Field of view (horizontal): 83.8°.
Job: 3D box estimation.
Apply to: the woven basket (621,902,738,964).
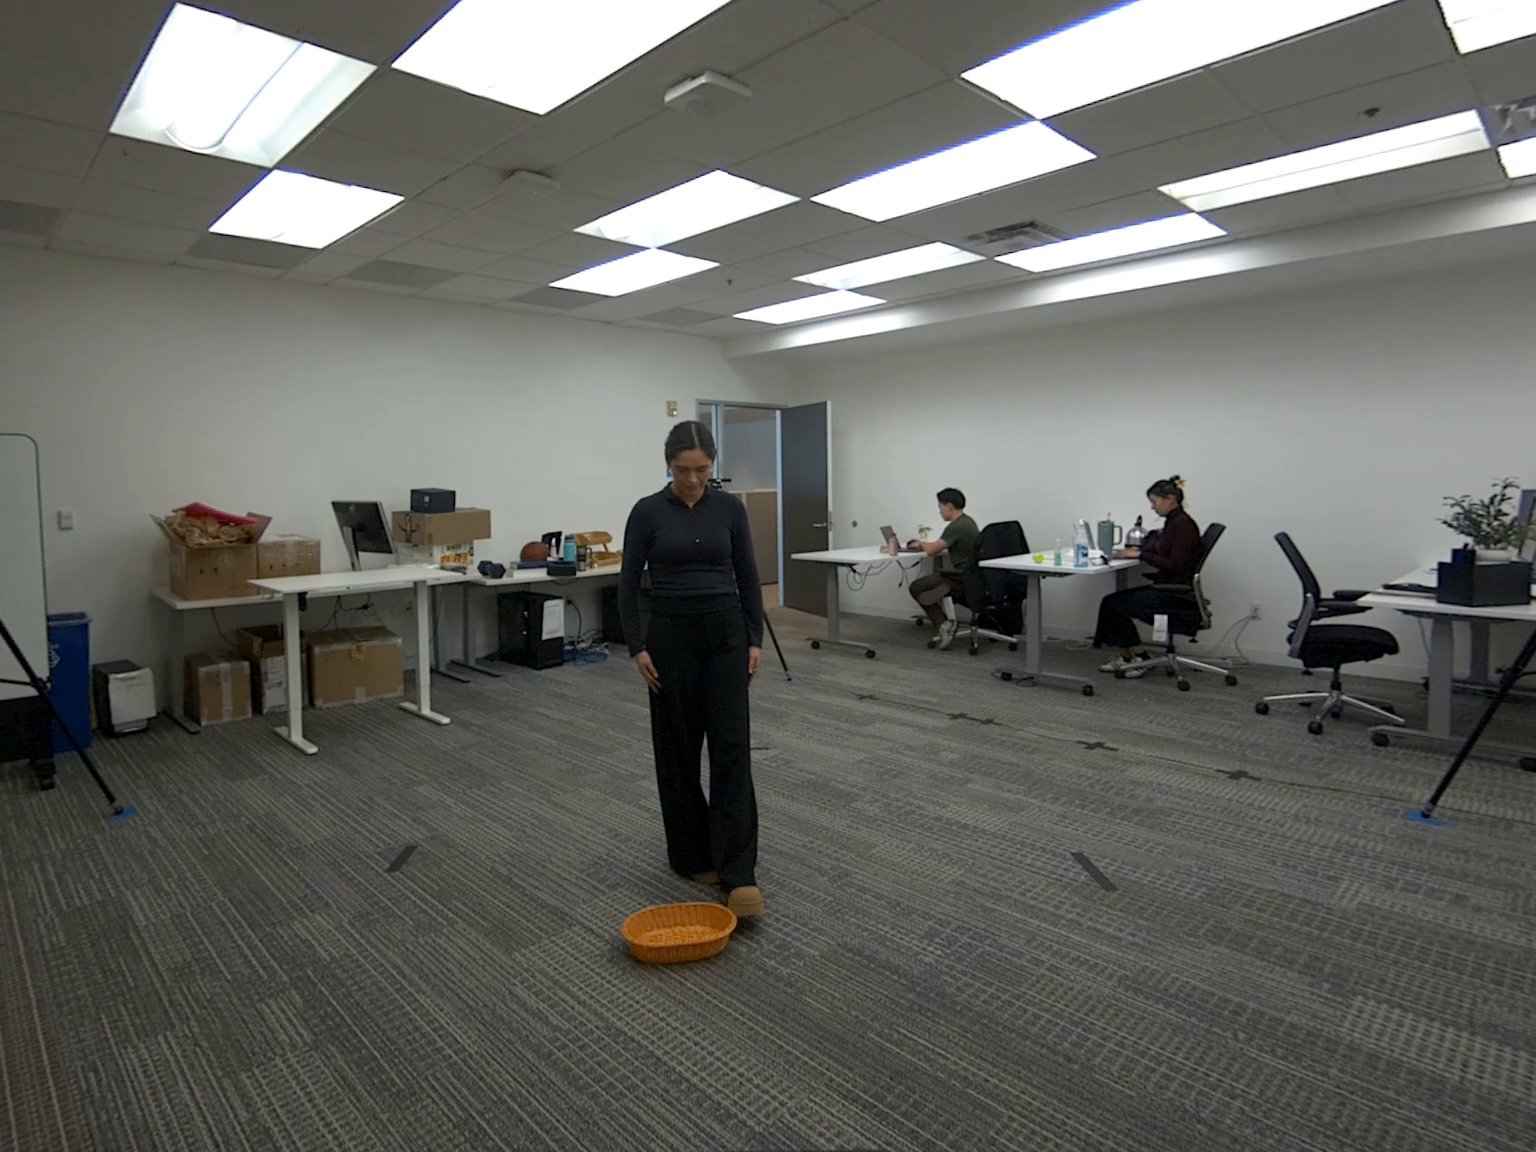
[{"bbox_3d":[-0.266,1.076,2.560,0.348,0.073,0.254,-3,4,-6],"label":"woven basket"}]
